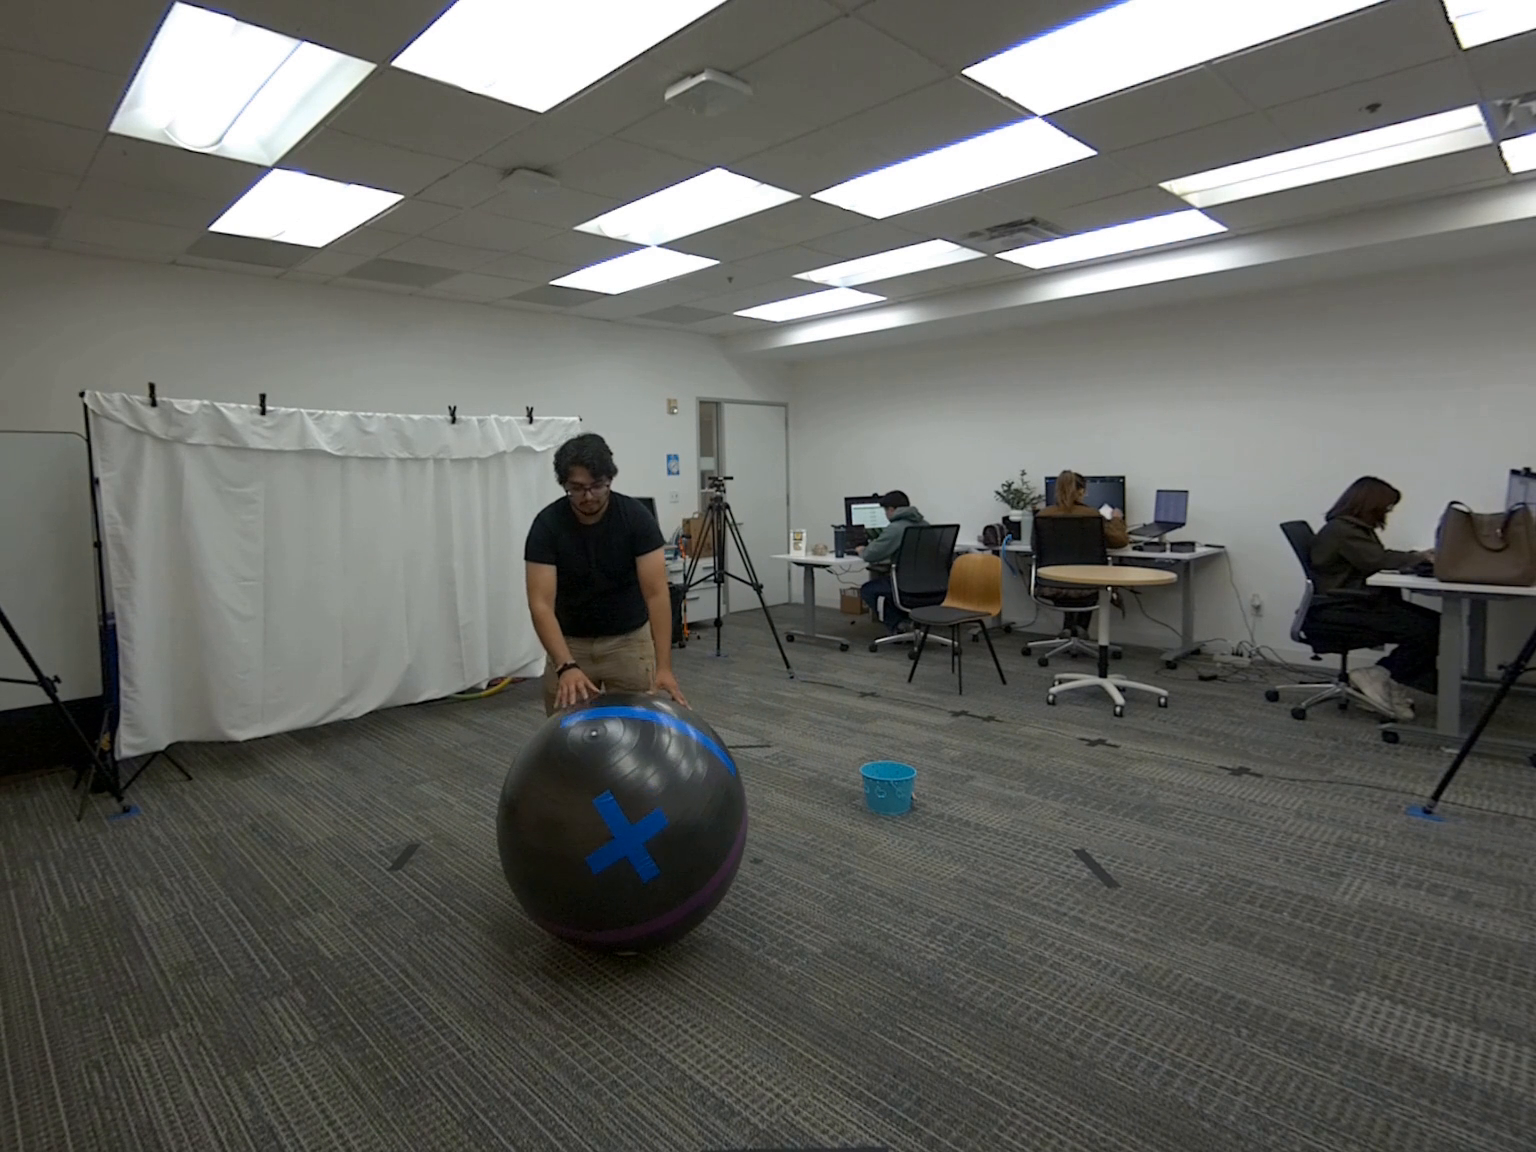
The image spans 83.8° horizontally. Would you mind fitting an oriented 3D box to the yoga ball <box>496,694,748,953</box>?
[{"bbox_3d":[-0.441,0.747,2.594,0.757,0.755,0.762,-1,5,-2],"label":"yoga ball"}]
